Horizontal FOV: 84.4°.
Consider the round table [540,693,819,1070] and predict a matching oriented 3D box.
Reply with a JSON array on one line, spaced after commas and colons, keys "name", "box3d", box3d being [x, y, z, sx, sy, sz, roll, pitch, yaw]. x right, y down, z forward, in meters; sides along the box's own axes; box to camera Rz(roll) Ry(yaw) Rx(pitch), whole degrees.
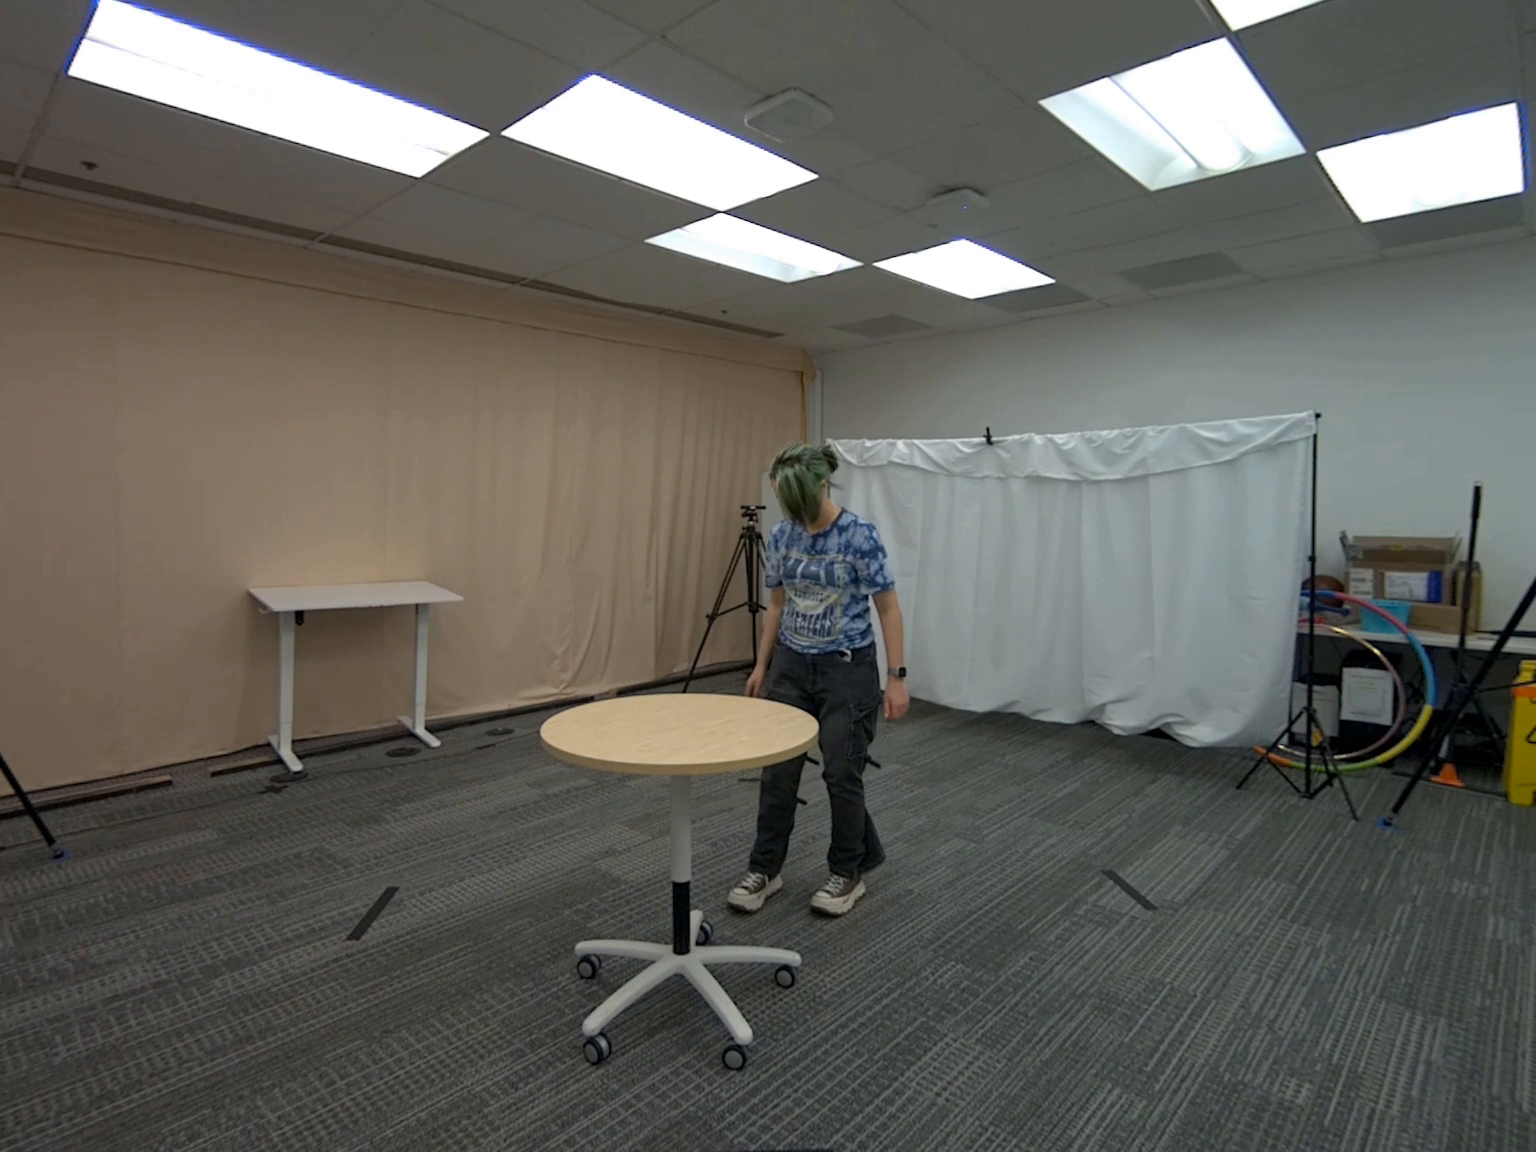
[{"name": "round table", "box3d": [-0.250, 0.811, 2.354, 0.763, 0.792, 0.766, -1, 4, -2]}]
